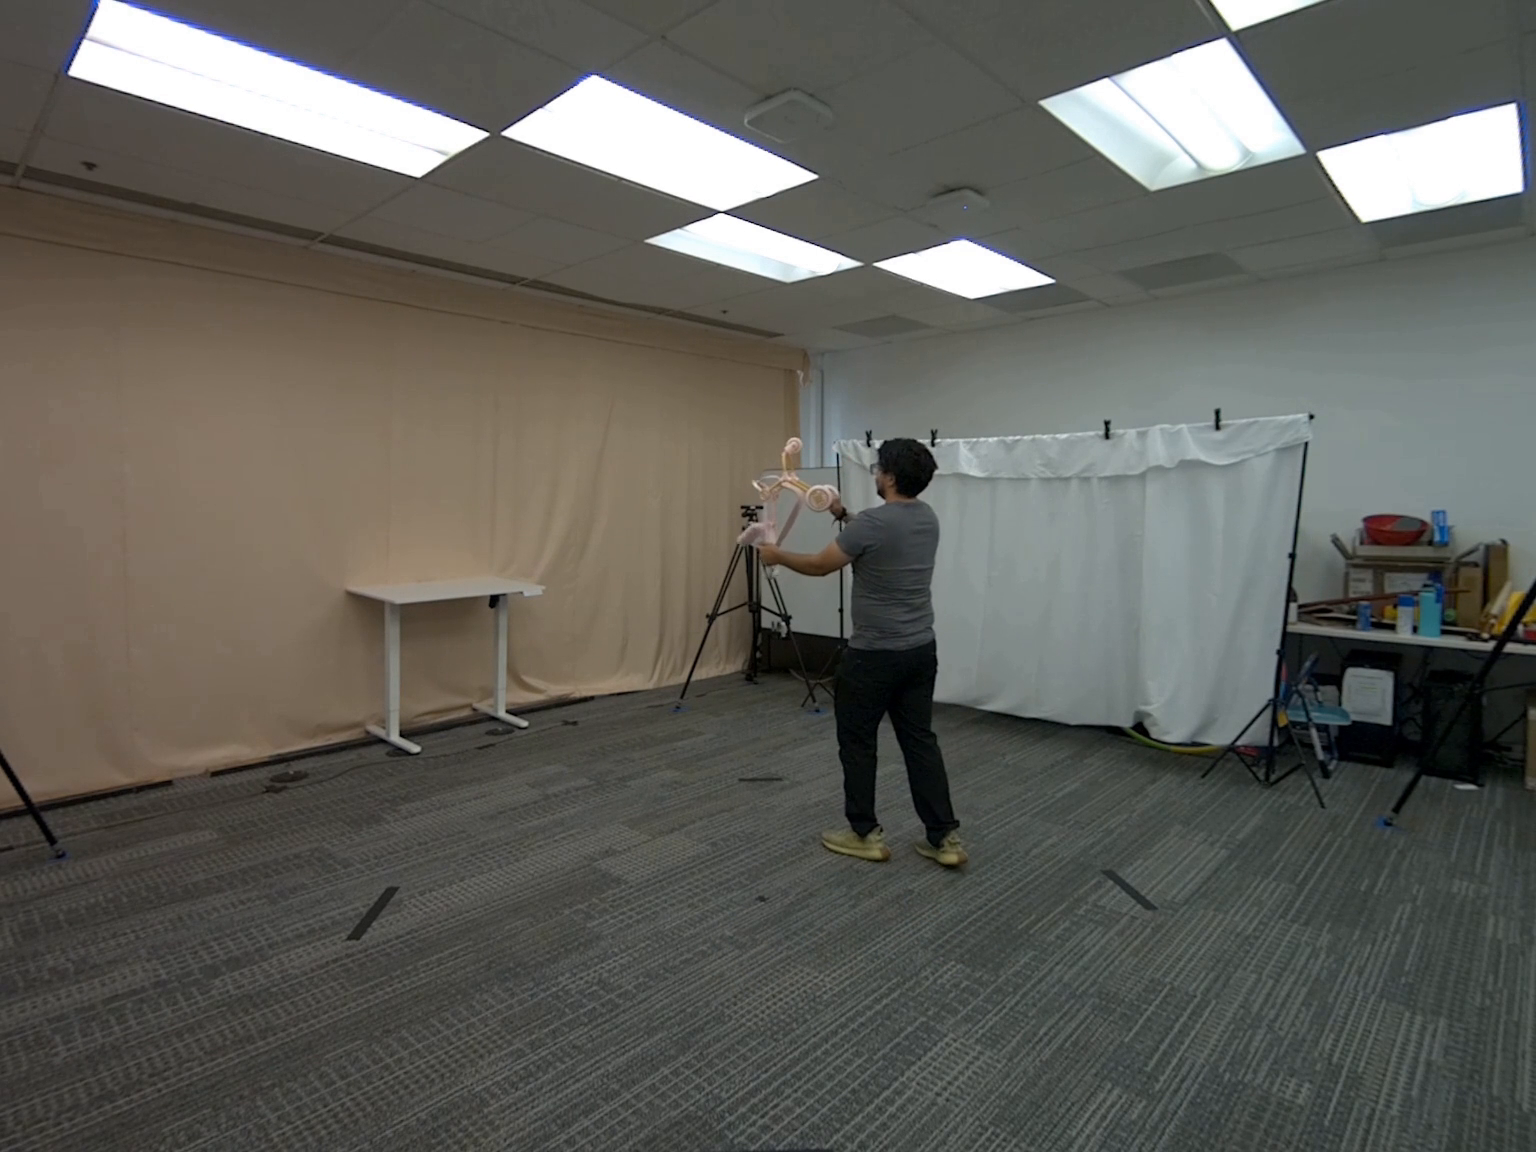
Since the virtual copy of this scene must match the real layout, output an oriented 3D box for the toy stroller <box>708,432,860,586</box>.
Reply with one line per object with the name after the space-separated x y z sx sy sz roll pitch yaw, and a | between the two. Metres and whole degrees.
0.070 -0.294 3.614 0.343 0.536 0.279 41 15 3 | toy stroller
